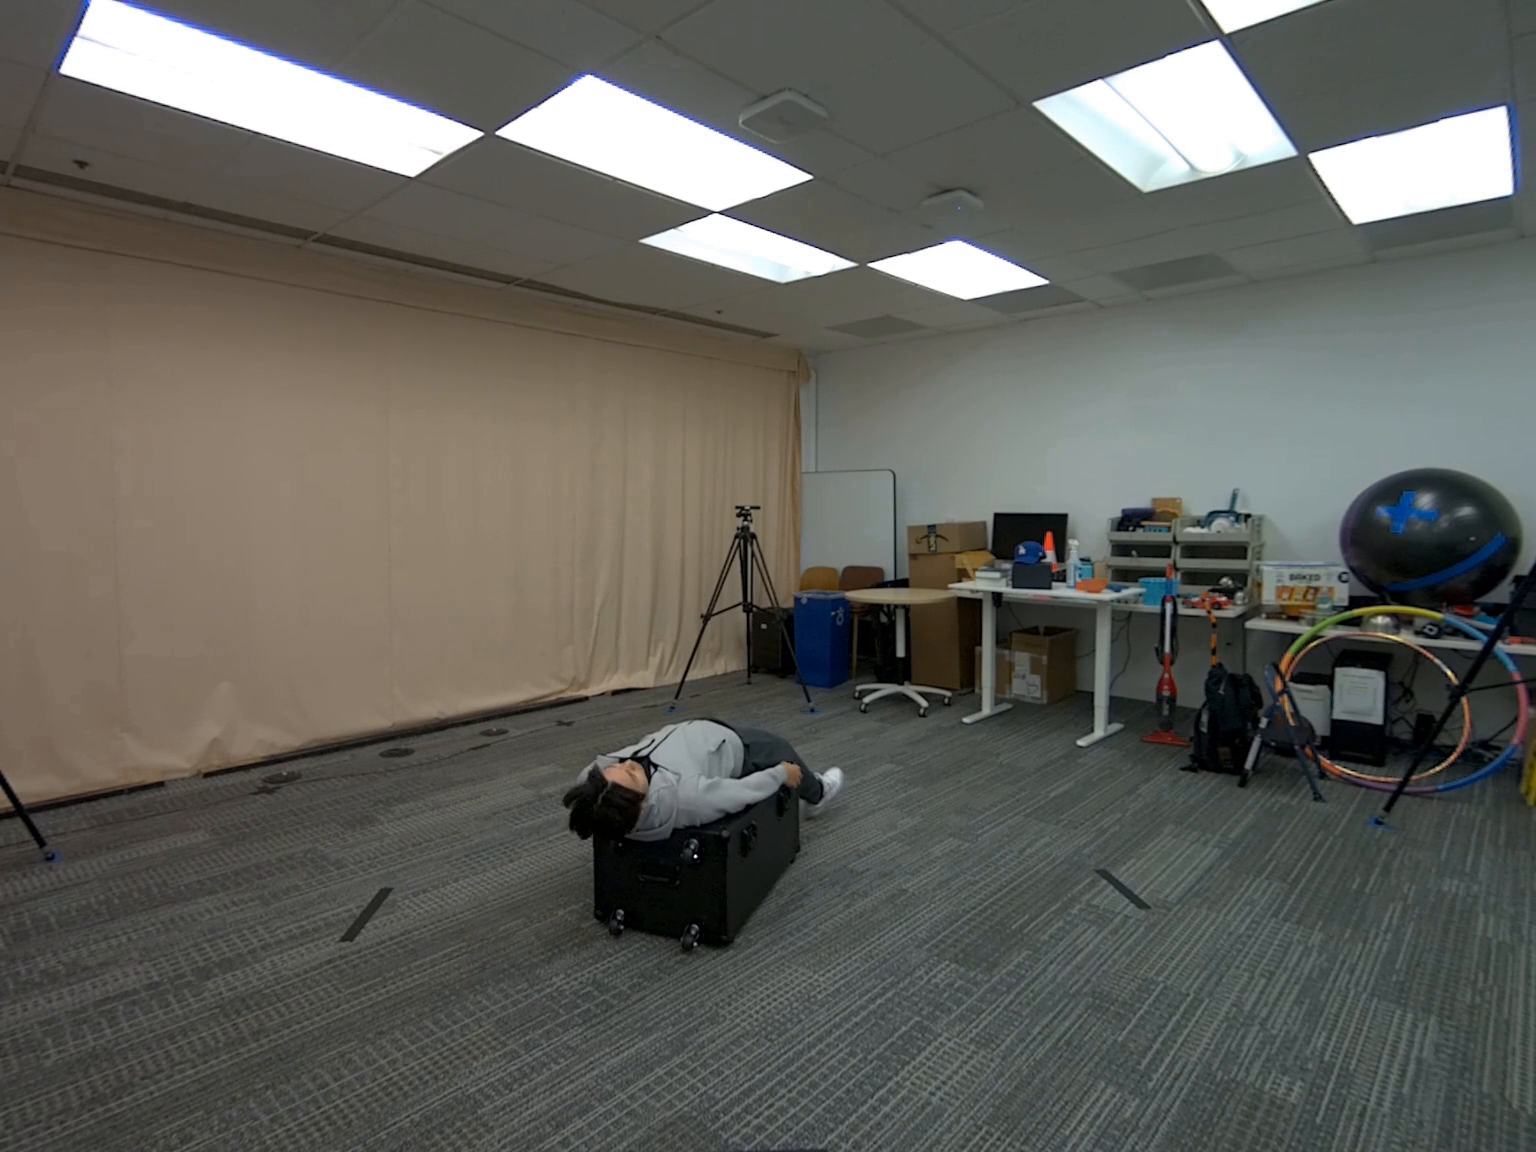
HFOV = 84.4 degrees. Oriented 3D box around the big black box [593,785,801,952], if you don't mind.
[{"bbox_3d":[-0.212,0.949,3.086,0.533,0.395,0.845,1,5,21],"label":"big black box"}]
